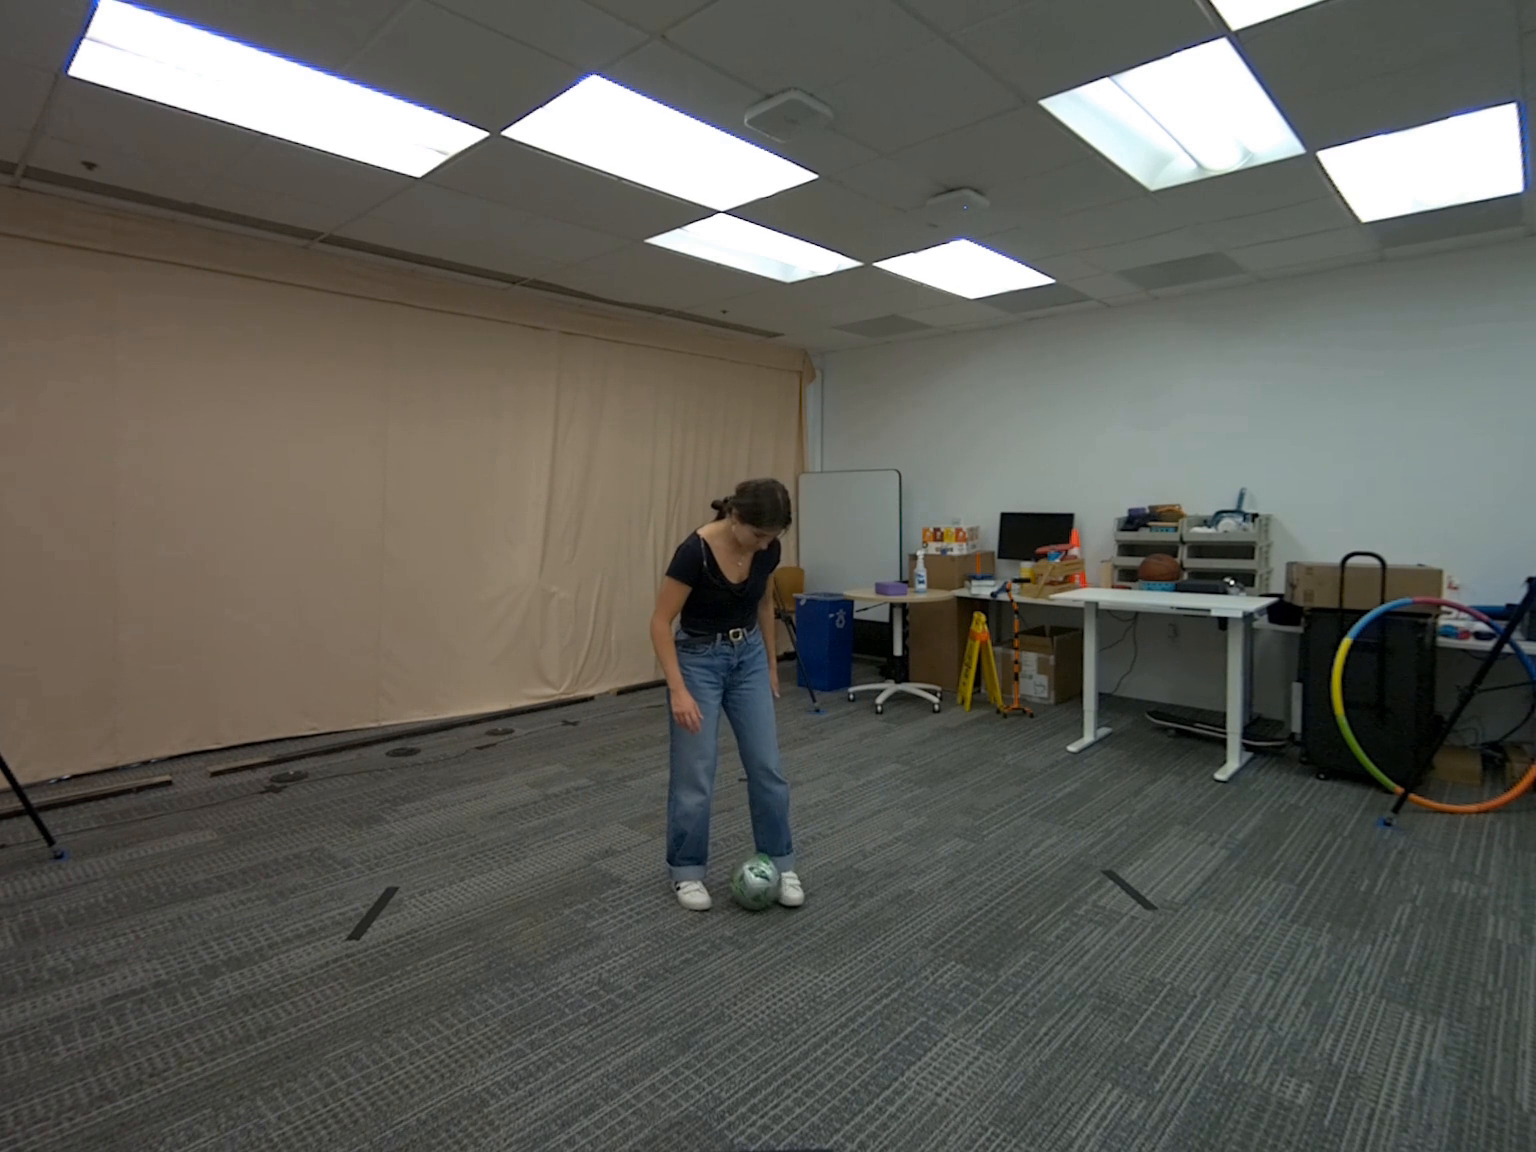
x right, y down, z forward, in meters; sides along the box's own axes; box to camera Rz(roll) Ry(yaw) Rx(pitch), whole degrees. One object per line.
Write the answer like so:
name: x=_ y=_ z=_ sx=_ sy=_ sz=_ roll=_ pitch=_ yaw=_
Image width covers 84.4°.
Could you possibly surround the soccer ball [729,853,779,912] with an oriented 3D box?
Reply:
soccer ball: x=-0.042 y=1.057 z=2.917 sx=0.187 sy=0.187 sz=0.188 roll=0 pitch=4 yaw=-2
